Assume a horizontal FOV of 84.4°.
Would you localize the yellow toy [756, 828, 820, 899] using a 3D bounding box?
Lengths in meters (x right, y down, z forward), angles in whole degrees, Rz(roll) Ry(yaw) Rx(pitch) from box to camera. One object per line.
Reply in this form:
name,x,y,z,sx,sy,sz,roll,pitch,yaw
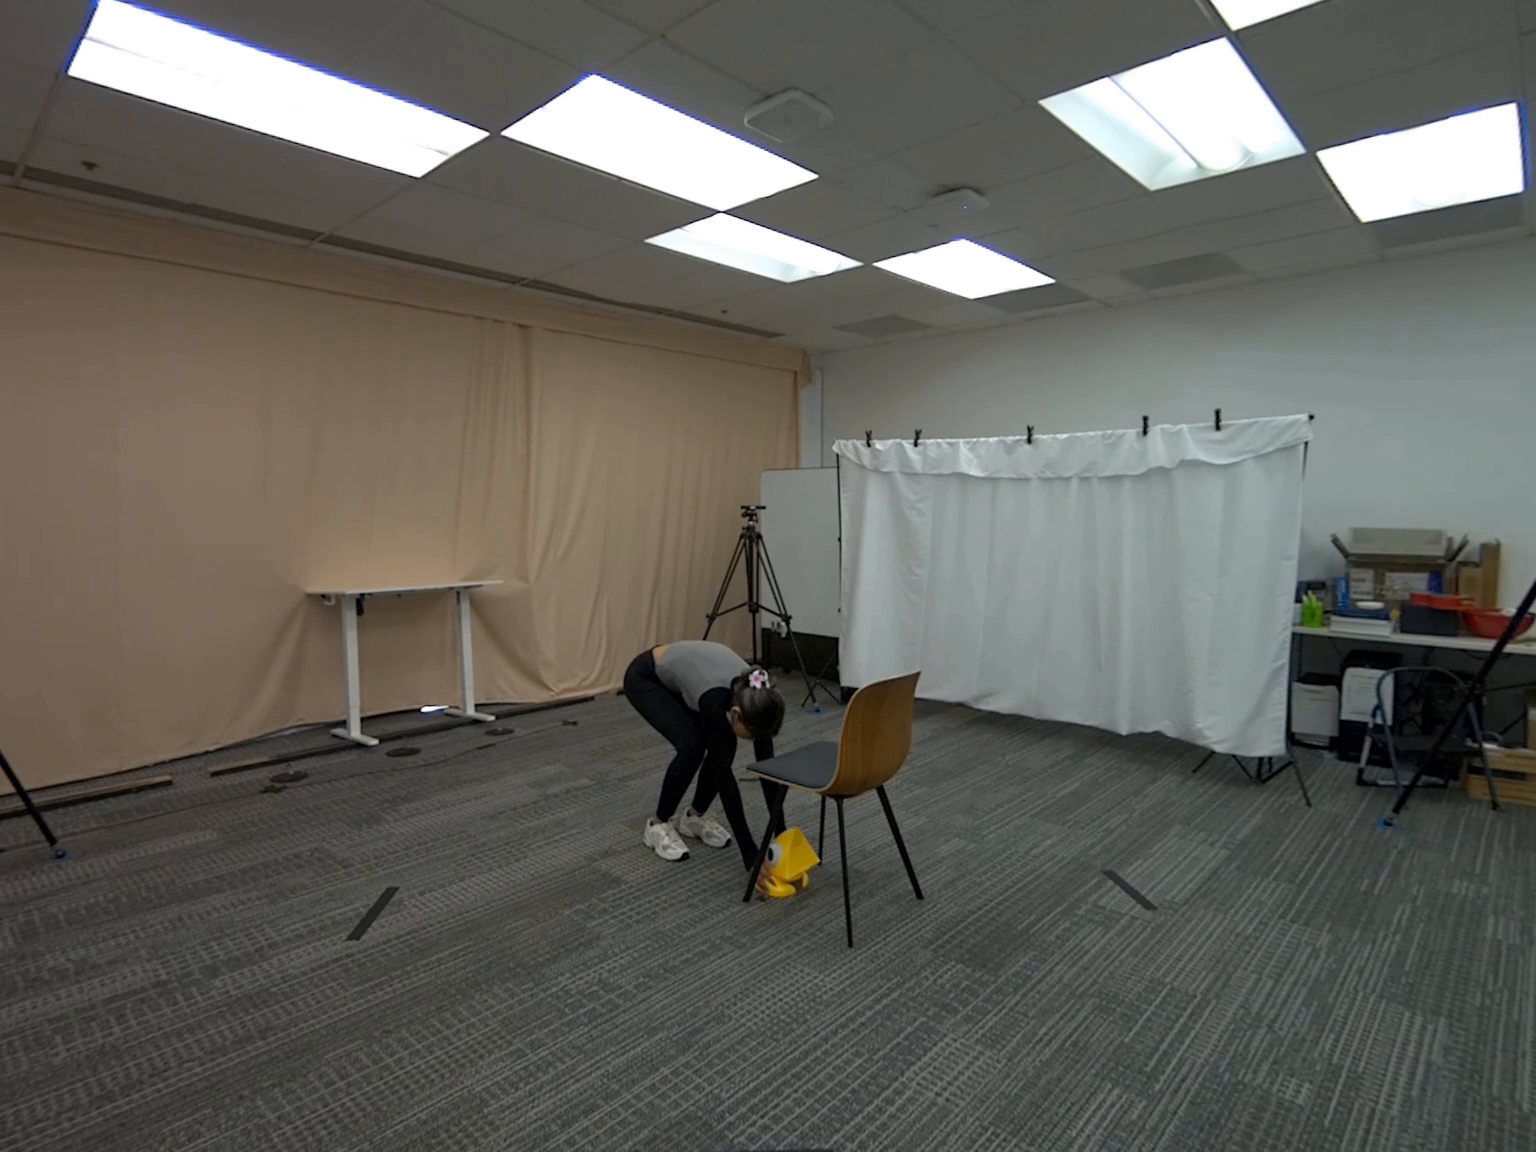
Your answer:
yellow toy,0.055,1.026,3.085,0.199,0.230,0.199,3,5,40
